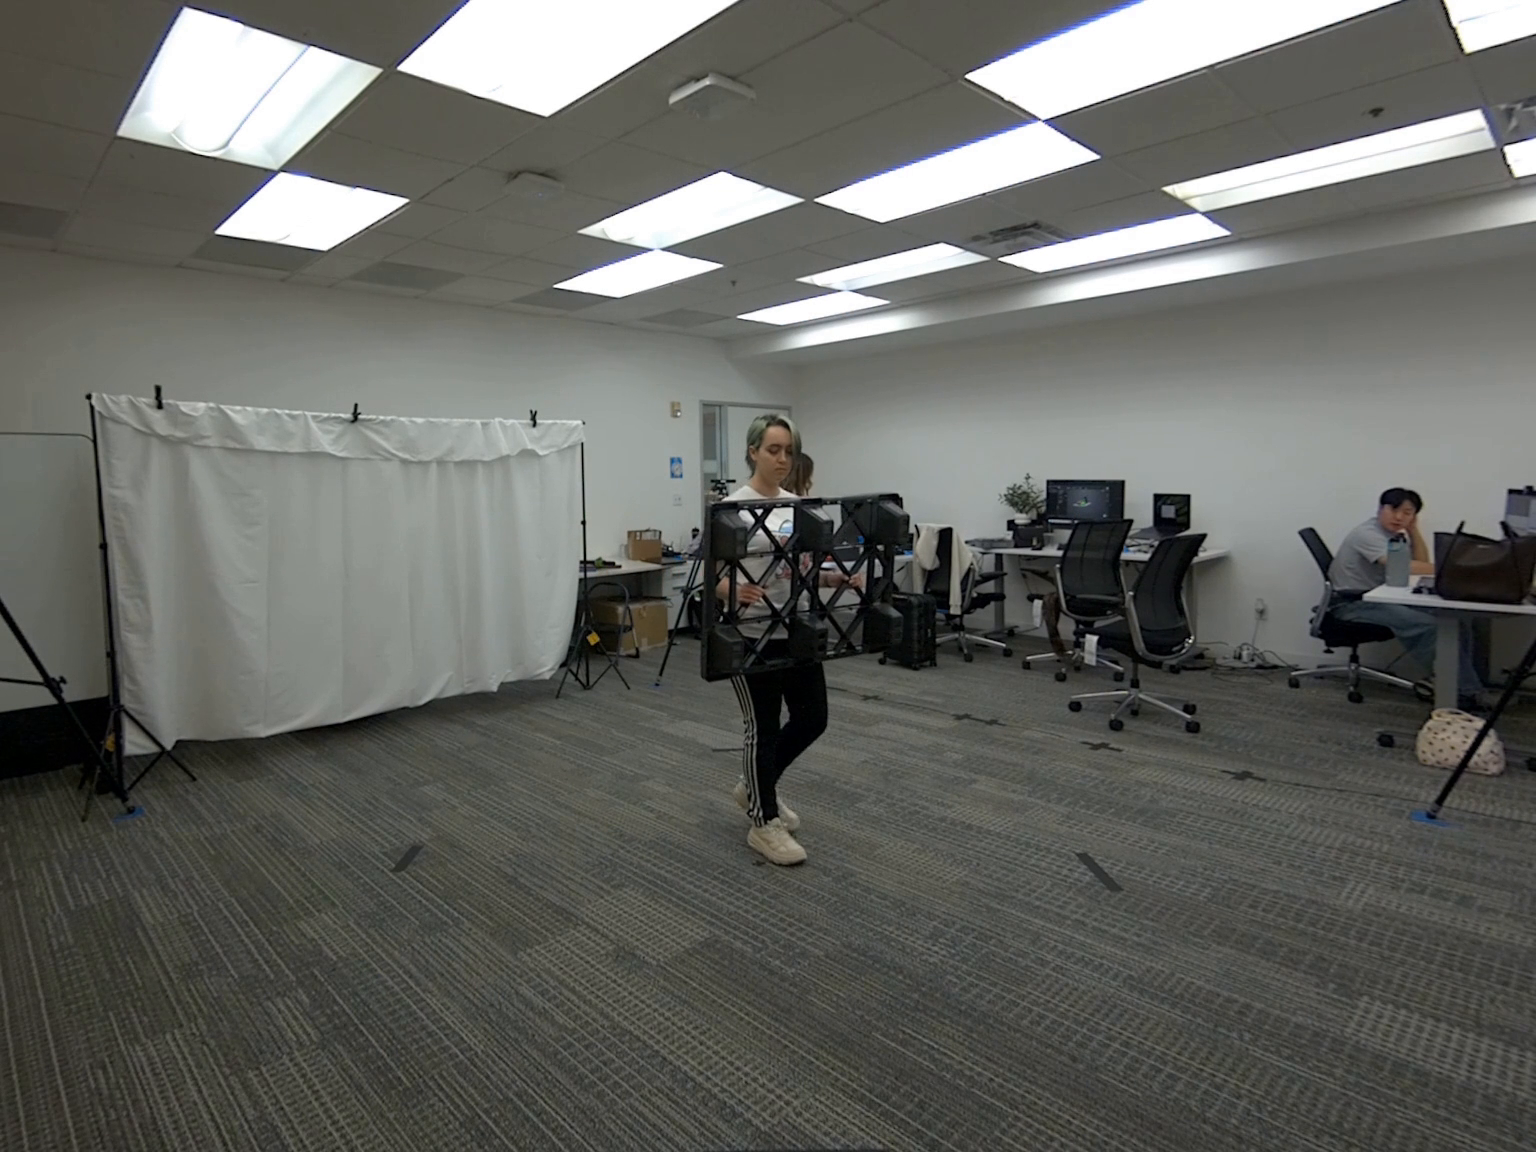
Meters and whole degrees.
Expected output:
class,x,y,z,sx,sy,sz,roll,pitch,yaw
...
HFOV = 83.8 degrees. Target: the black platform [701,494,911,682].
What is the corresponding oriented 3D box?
class,x,y,z,sx,sy,sz,roll,pitch,yaw
black platform,0.145,0.036,2.938,0.787,0.599,0.148,-5,13,-30
